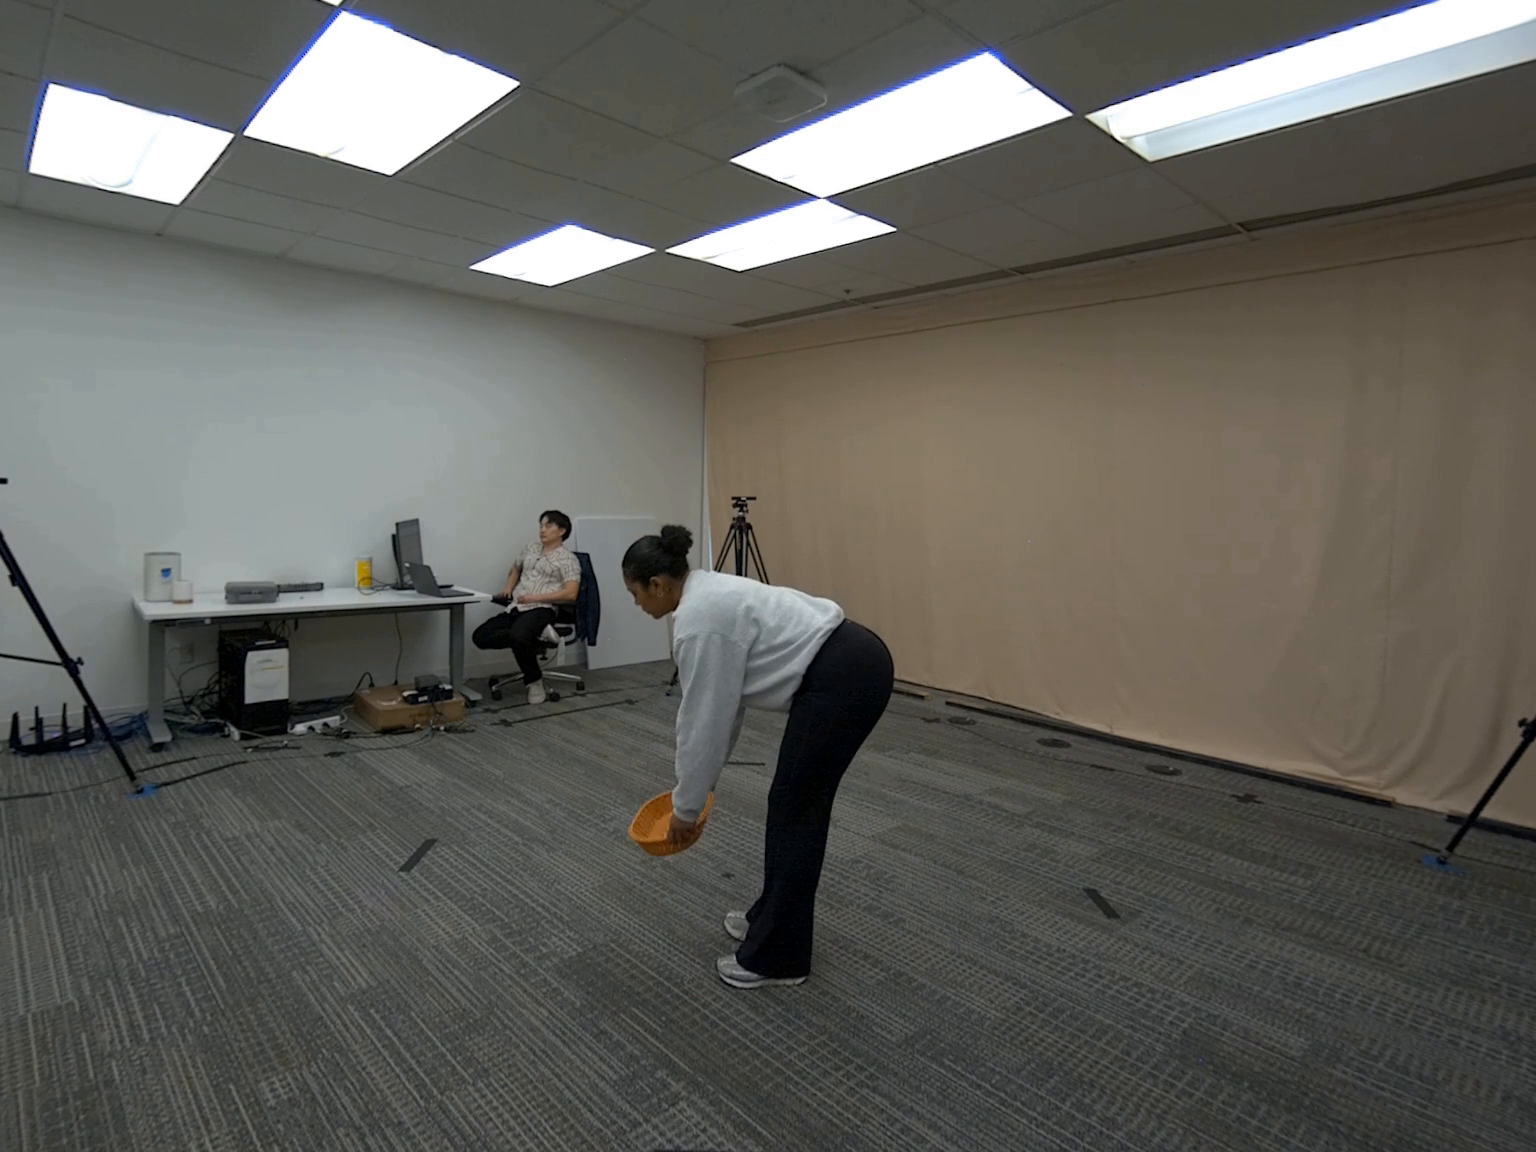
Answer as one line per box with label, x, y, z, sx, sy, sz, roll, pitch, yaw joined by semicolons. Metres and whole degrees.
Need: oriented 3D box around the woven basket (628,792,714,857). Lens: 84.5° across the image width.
woven basket;-0.287;0.760;2.601;0.254;0.073;0.350;-11;9;12
